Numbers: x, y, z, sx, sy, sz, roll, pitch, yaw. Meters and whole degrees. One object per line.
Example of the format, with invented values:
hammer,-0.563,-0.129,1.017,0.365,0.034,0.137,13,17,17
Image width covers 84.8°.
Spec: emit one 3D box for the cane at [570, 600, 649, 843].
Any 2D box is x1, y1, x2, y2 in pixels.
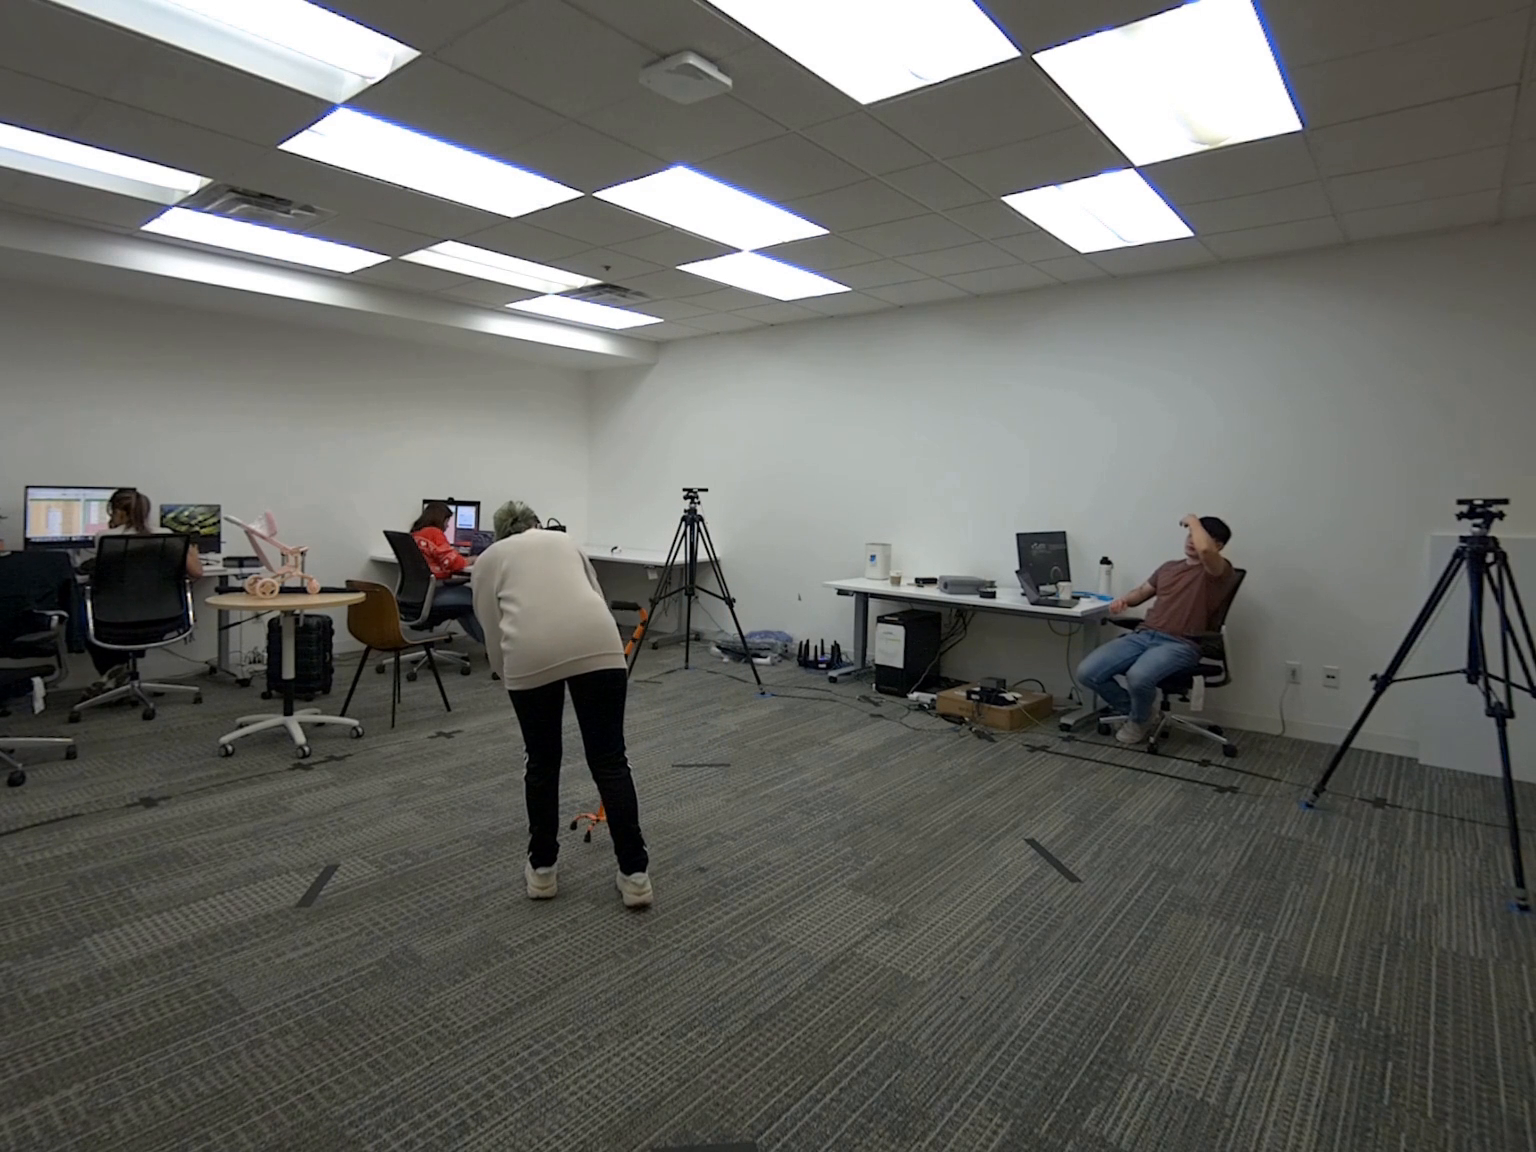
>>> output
cane,-0.597,0.546,3.312,0.200,0.907,0.157,8,1,-36
